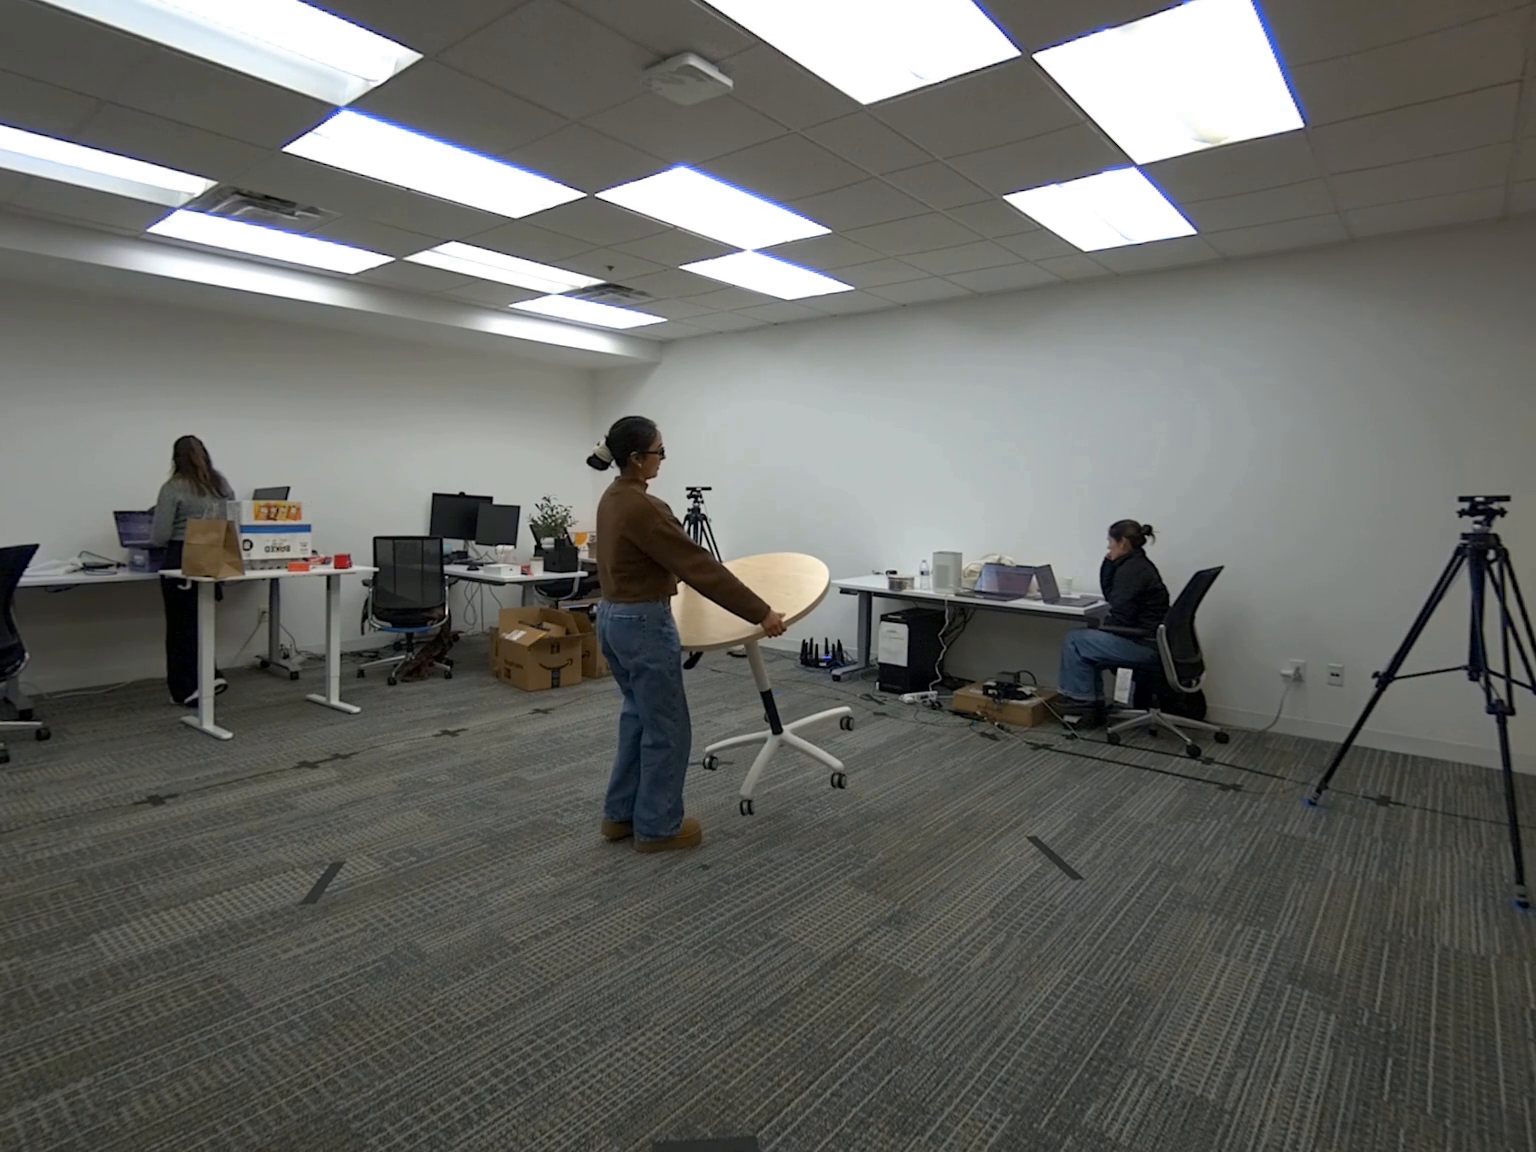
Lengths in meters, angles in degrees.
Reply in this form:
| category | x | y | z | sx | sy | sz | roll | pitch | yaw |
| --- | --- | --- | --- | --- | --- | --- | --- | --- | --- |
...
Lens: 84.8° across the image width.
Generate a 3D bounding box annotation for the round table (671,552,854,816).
| category | x | y | z | sx | sy | sz | roll | pitch | yaw |
| --- | --- | --- | --- | --- | --- | --- | --- | --- | --- |
| round table | -0.031 | 0.431 | 3.561 | 0.788 | 0.768 | 0.801 | -15 | 21 | 4 |
